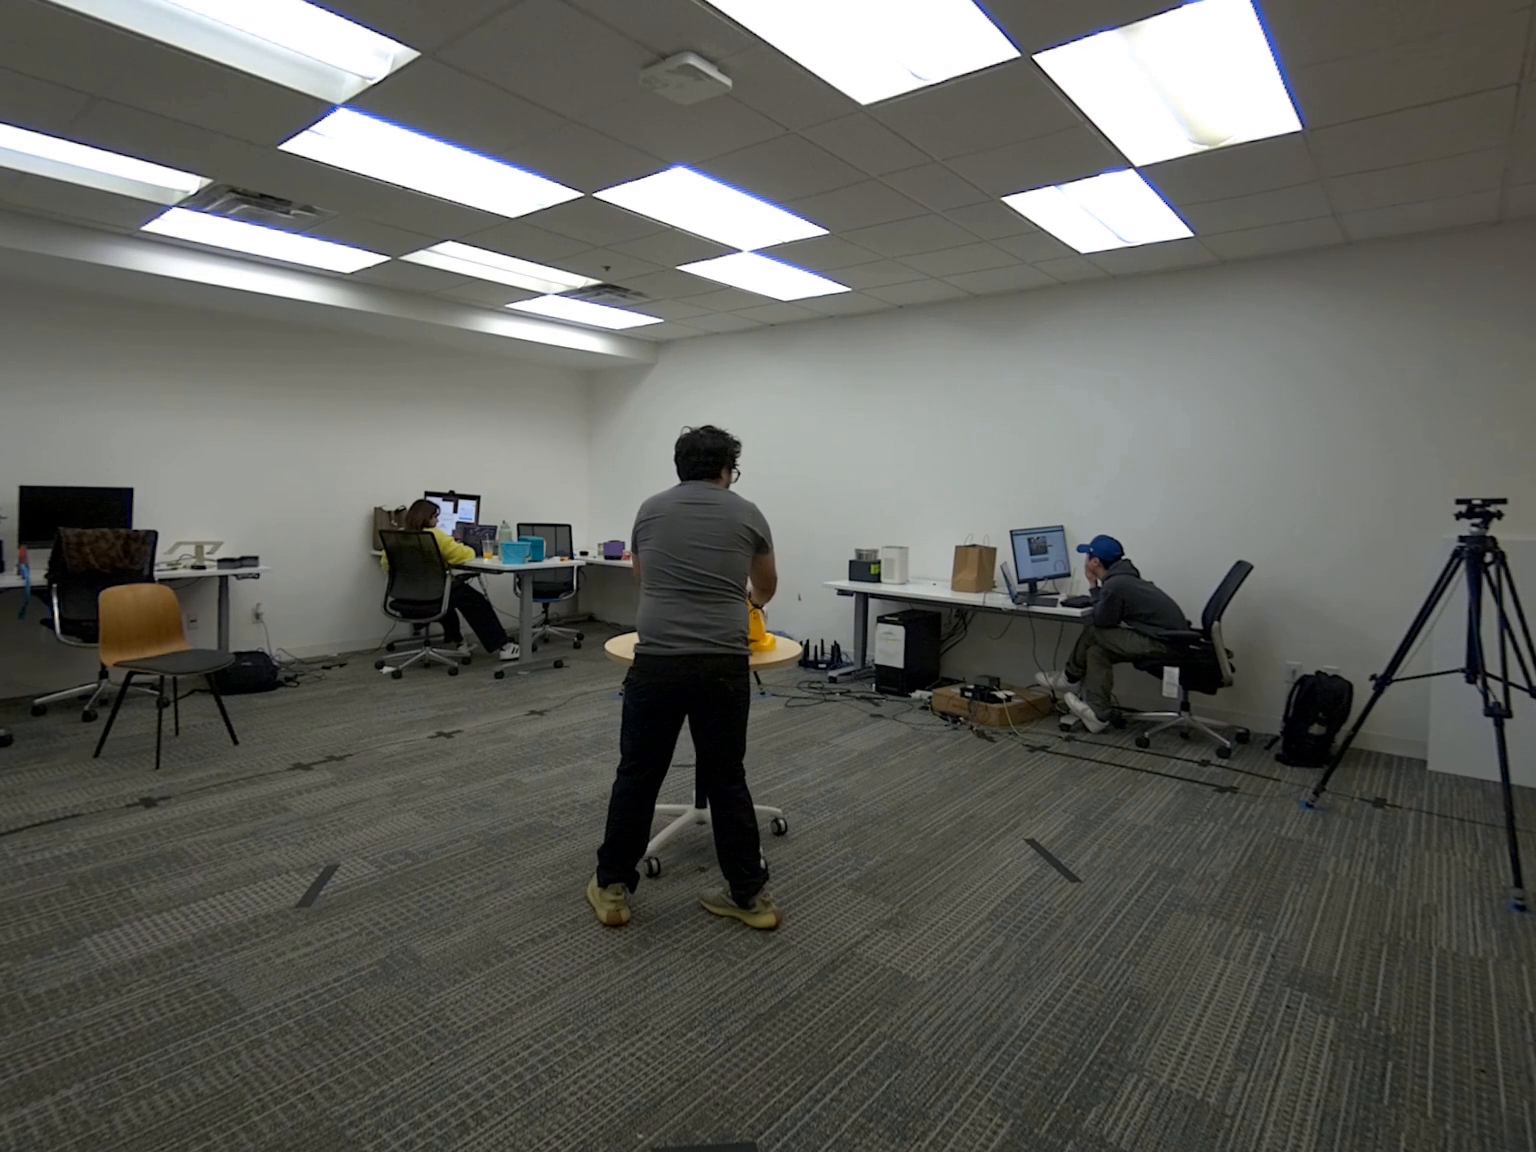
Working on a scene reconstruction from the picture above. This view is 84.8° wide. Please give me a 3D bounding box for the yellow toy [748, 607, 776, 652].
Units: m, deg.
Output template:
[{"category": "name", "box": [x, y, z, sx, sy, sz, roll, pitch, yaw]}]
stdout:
[{"category": "yellow toy", "box": [-0.081, 0.157, 3.293, 0.210, 0.229, 0.189, 5, 6, 26]}]
